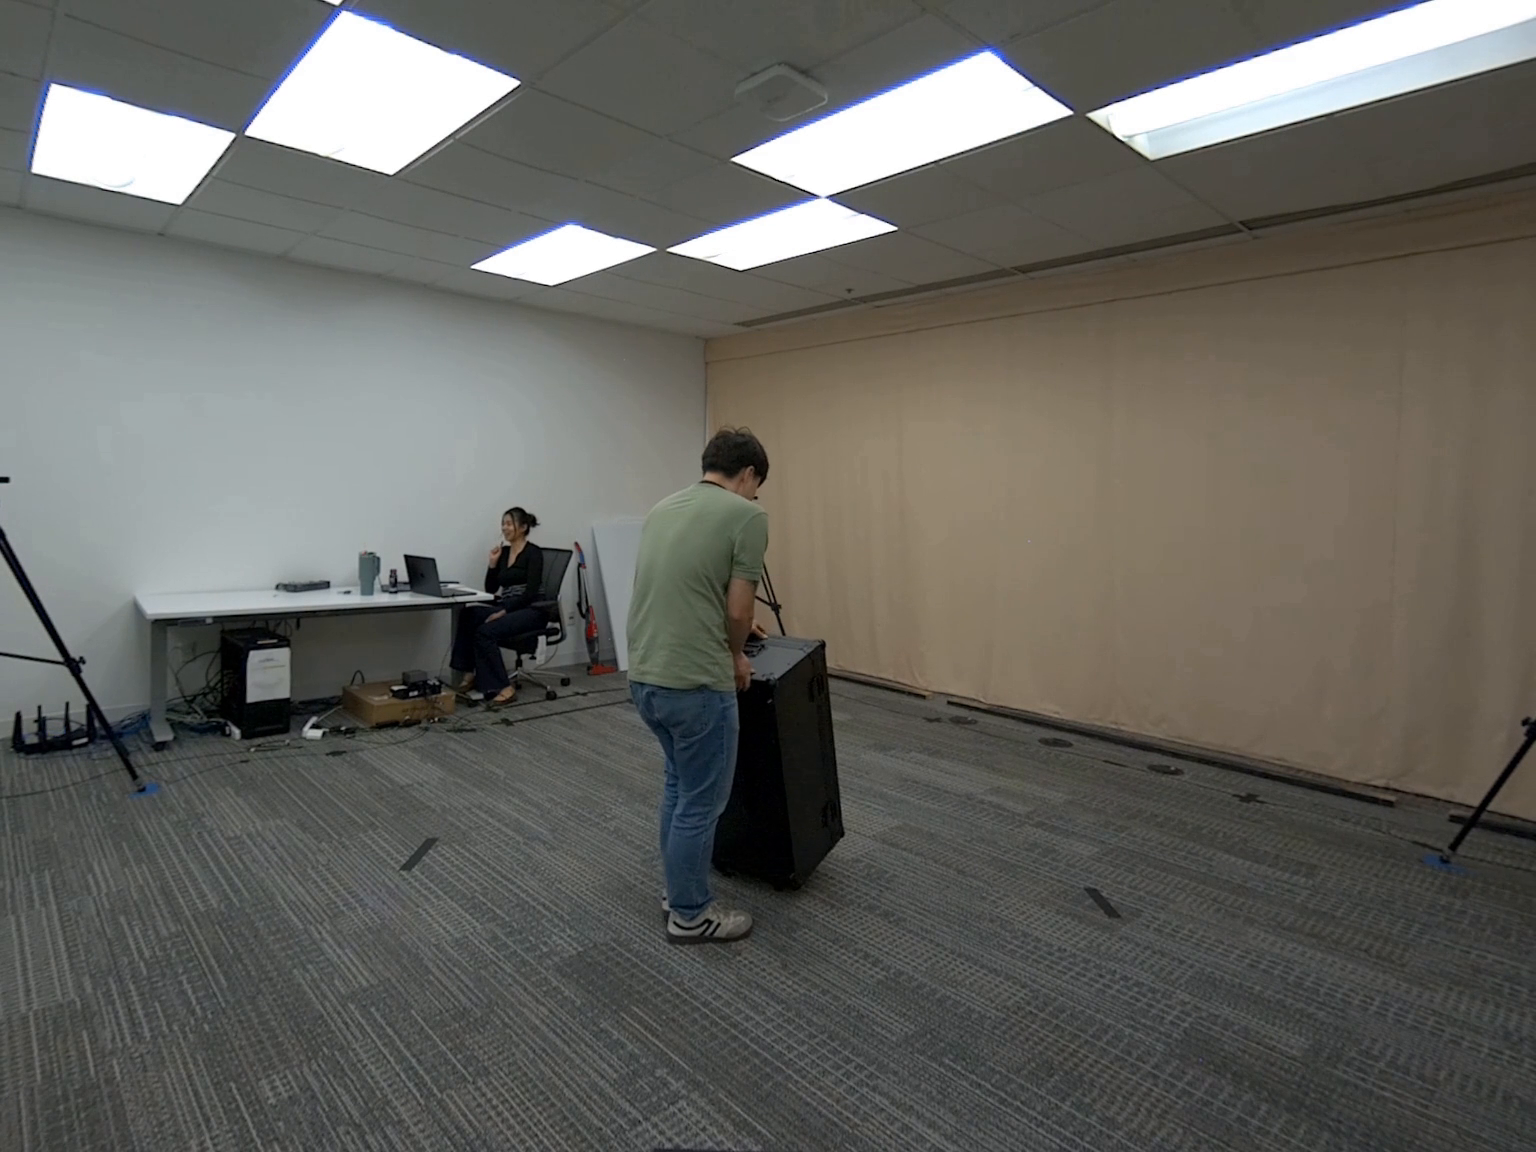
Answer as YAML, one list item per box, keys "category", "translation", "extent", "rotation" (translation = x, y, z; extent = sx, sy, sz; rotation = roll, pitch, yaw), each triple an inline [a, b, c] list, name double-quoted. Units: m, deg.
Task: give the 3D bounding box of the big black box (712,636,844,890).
- category: "big black box"
  translation: [-0.055, 0.671, 3.041]
  extent: [0.533, 0.850, 0.392]
  rotation: [3, 19, 34]
